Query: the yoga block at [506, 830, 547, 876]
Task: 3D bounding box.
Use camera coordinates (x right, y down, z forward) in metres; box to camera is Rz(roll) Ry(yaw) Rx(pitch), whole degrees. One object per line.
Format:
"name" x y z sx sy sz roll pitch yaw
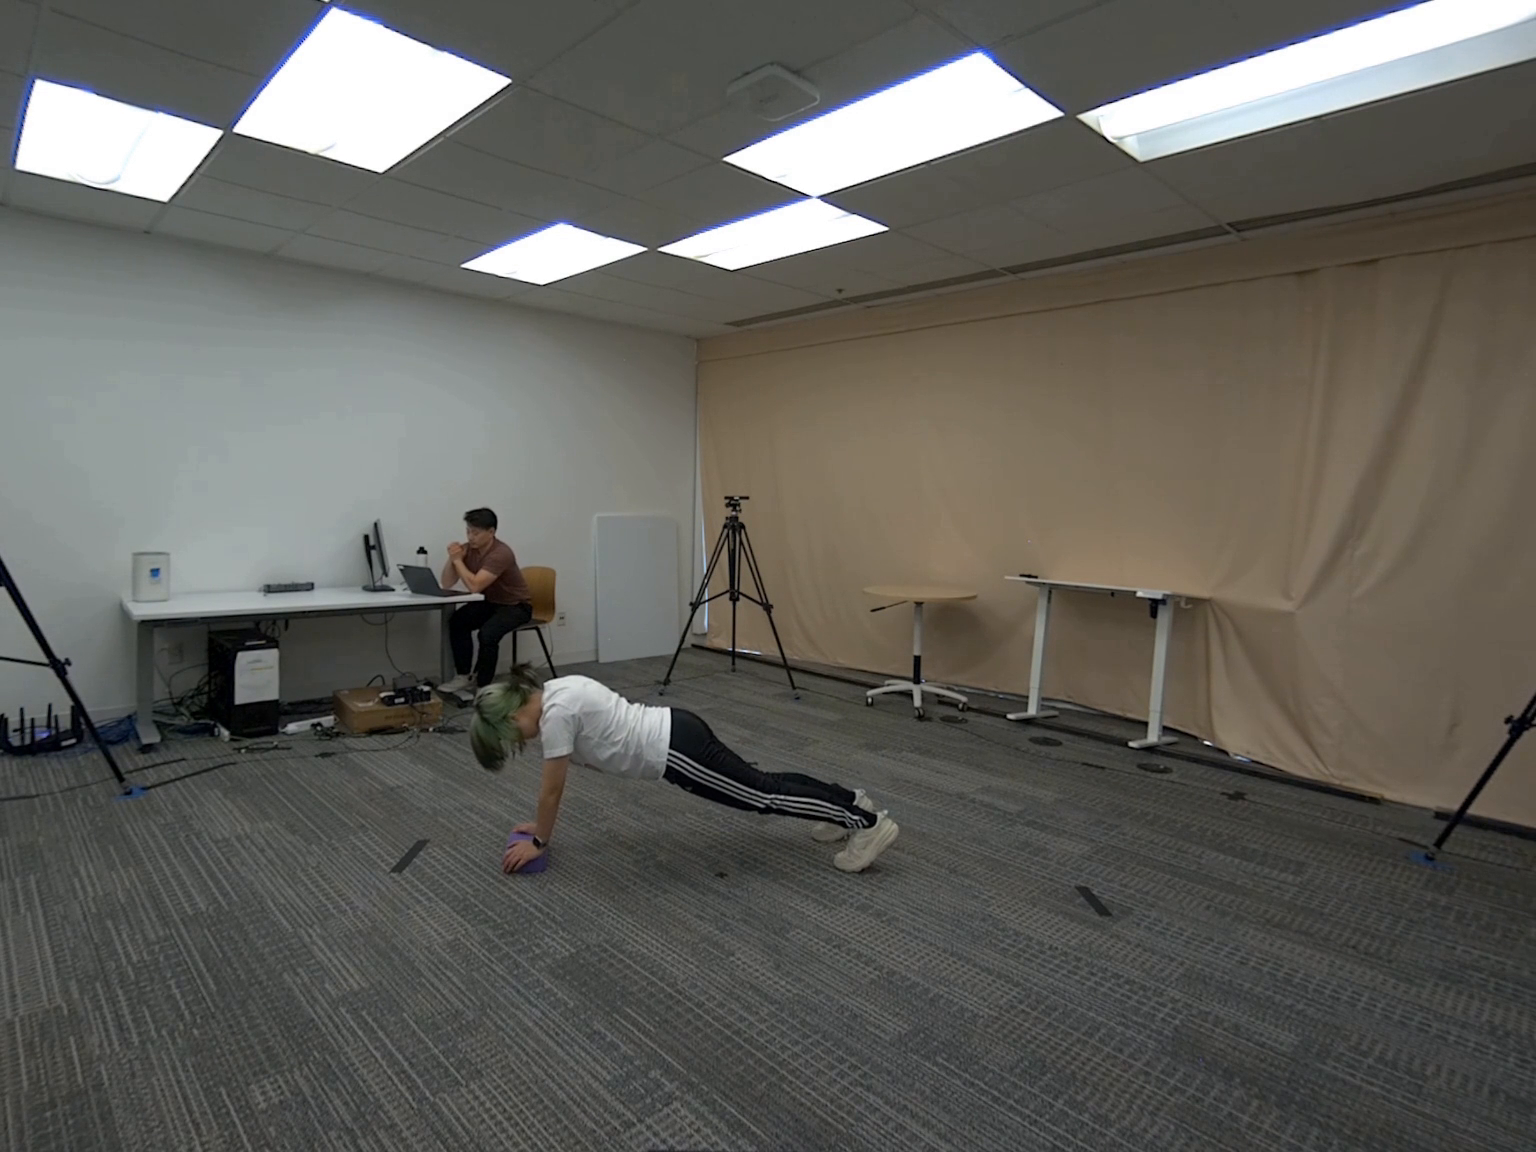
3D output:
"yoga block" -0.912 1.040 3.195 0.148 0.076 0.232 0 6 -10
